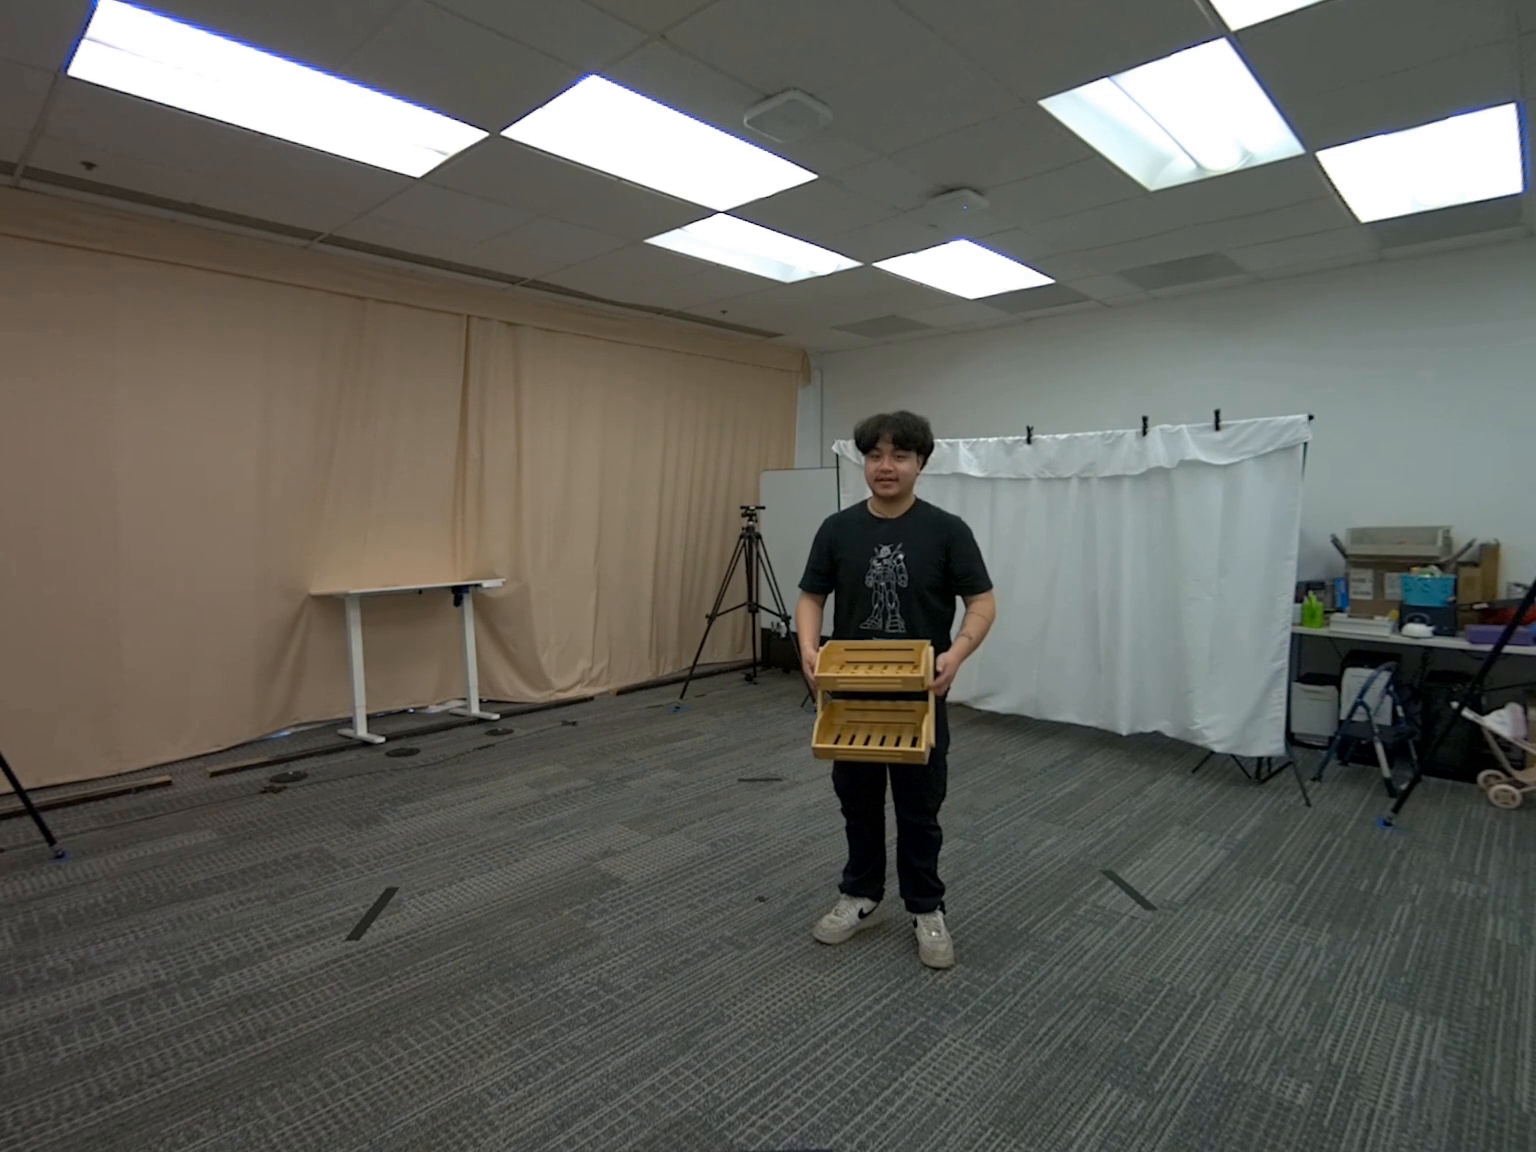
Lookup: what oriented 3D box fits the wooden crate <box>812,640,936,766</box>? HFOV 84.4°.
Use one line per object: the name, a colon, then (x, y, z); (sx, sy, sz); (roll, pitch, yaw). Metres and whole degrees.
wooden crate: (0.302, 0.339, 2.357); (0.331, 0.272, 0.298); (-1, 8, 18)
